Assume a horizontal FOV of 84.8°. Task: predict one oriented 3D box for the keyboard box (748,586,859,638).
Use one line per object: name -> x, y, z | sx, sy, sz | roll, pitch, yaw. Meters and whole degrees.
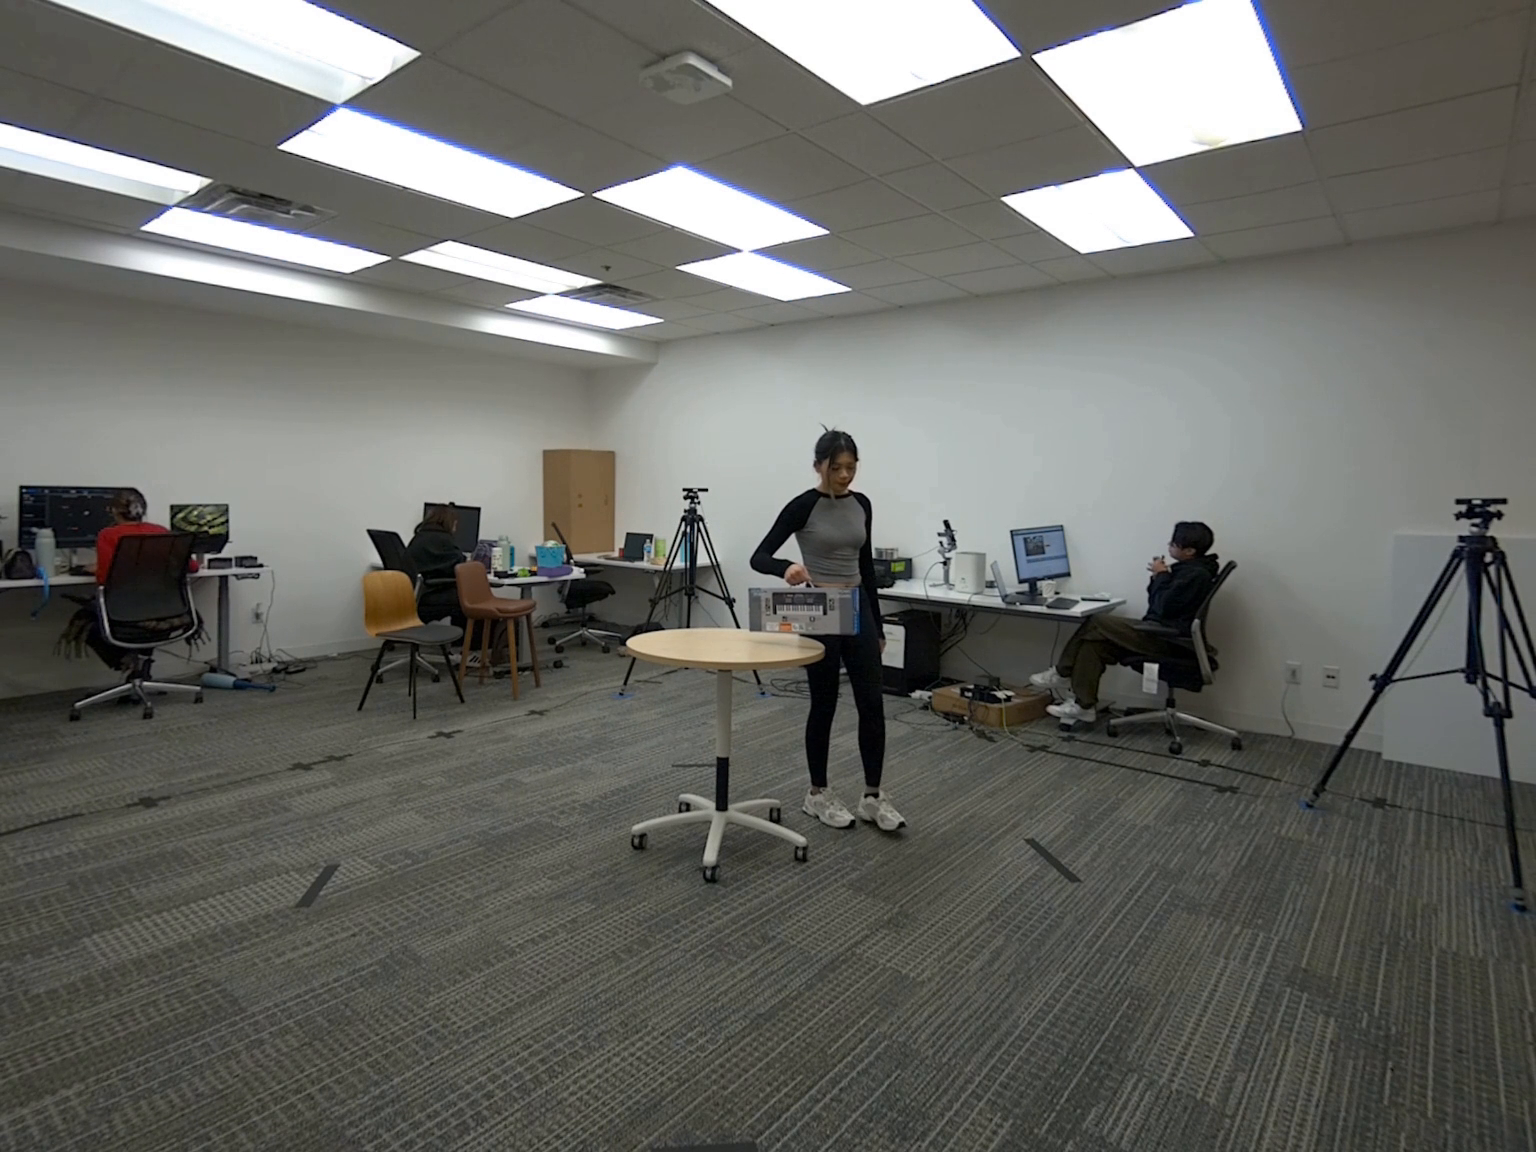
keyboard box -> 0.125, 0.132, 3.252 | 0.448, 0.176, 0.057 | -1, -1, 29
